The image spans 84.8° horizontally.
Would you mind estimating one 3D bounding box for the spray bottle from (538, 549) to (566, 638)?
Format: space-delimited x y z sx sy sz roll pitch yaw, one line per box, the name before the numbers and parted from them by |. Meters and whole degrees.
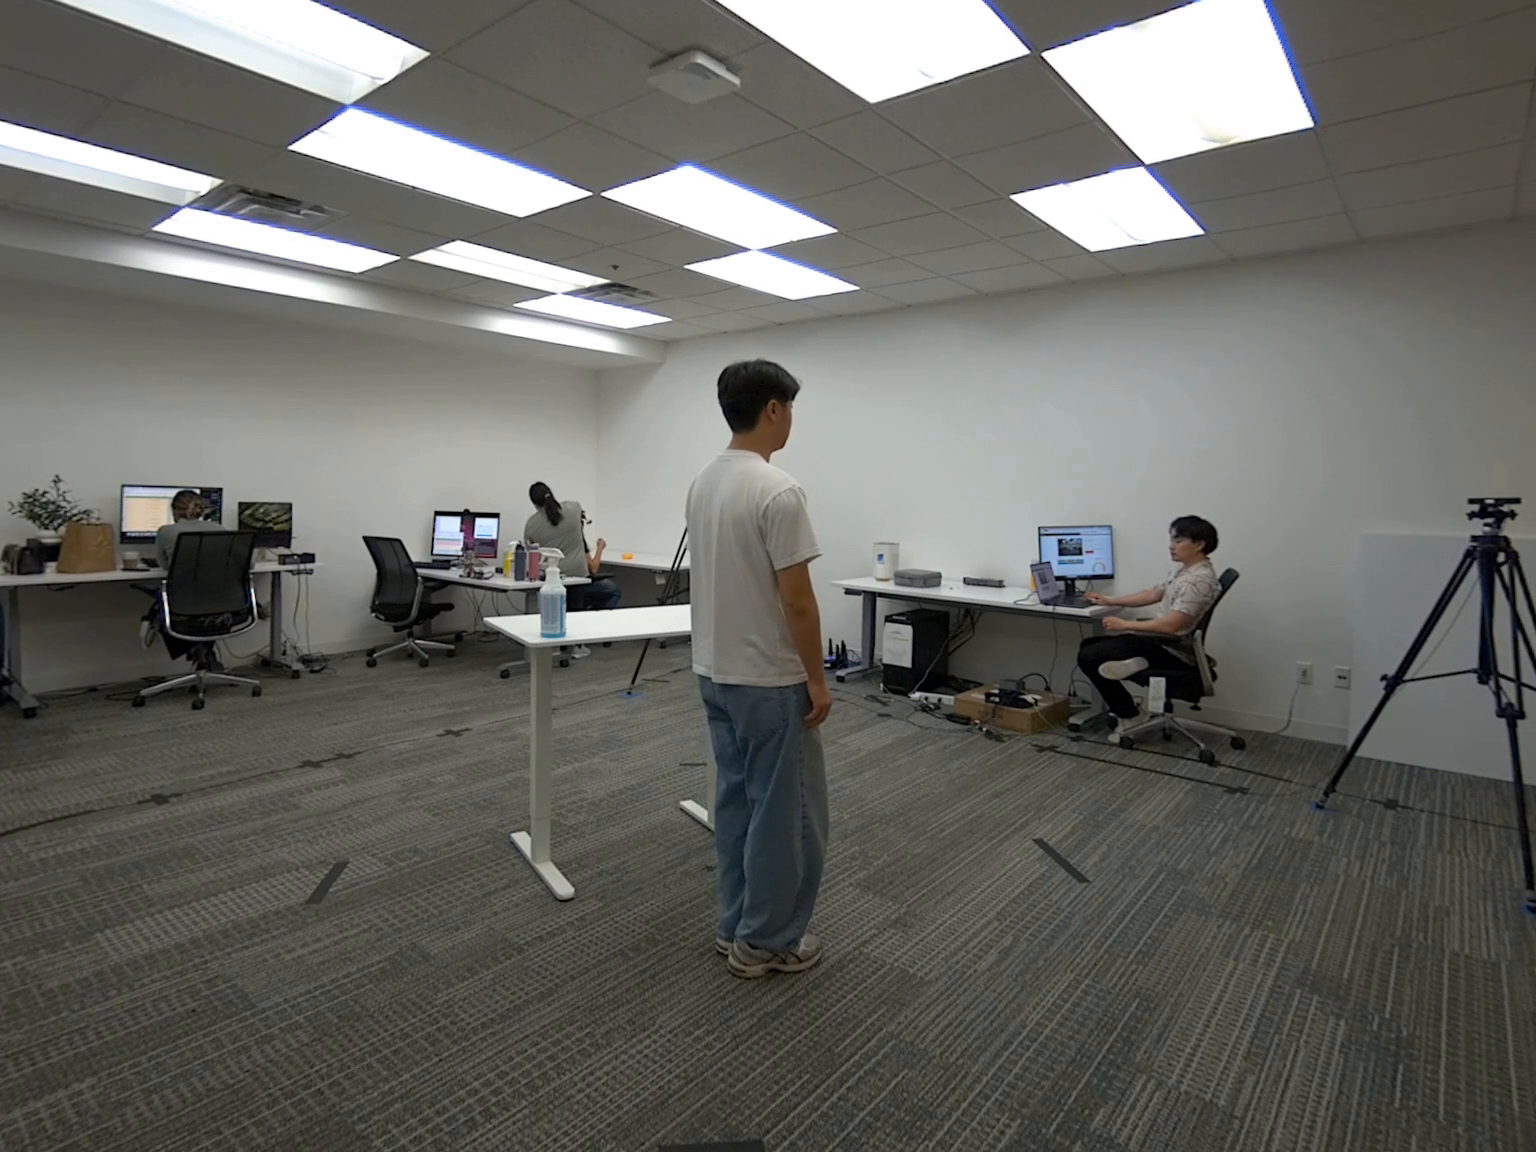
spray bottle | -0.737 0.055 2.862 0.093 0.297 0.084 1 3 36
